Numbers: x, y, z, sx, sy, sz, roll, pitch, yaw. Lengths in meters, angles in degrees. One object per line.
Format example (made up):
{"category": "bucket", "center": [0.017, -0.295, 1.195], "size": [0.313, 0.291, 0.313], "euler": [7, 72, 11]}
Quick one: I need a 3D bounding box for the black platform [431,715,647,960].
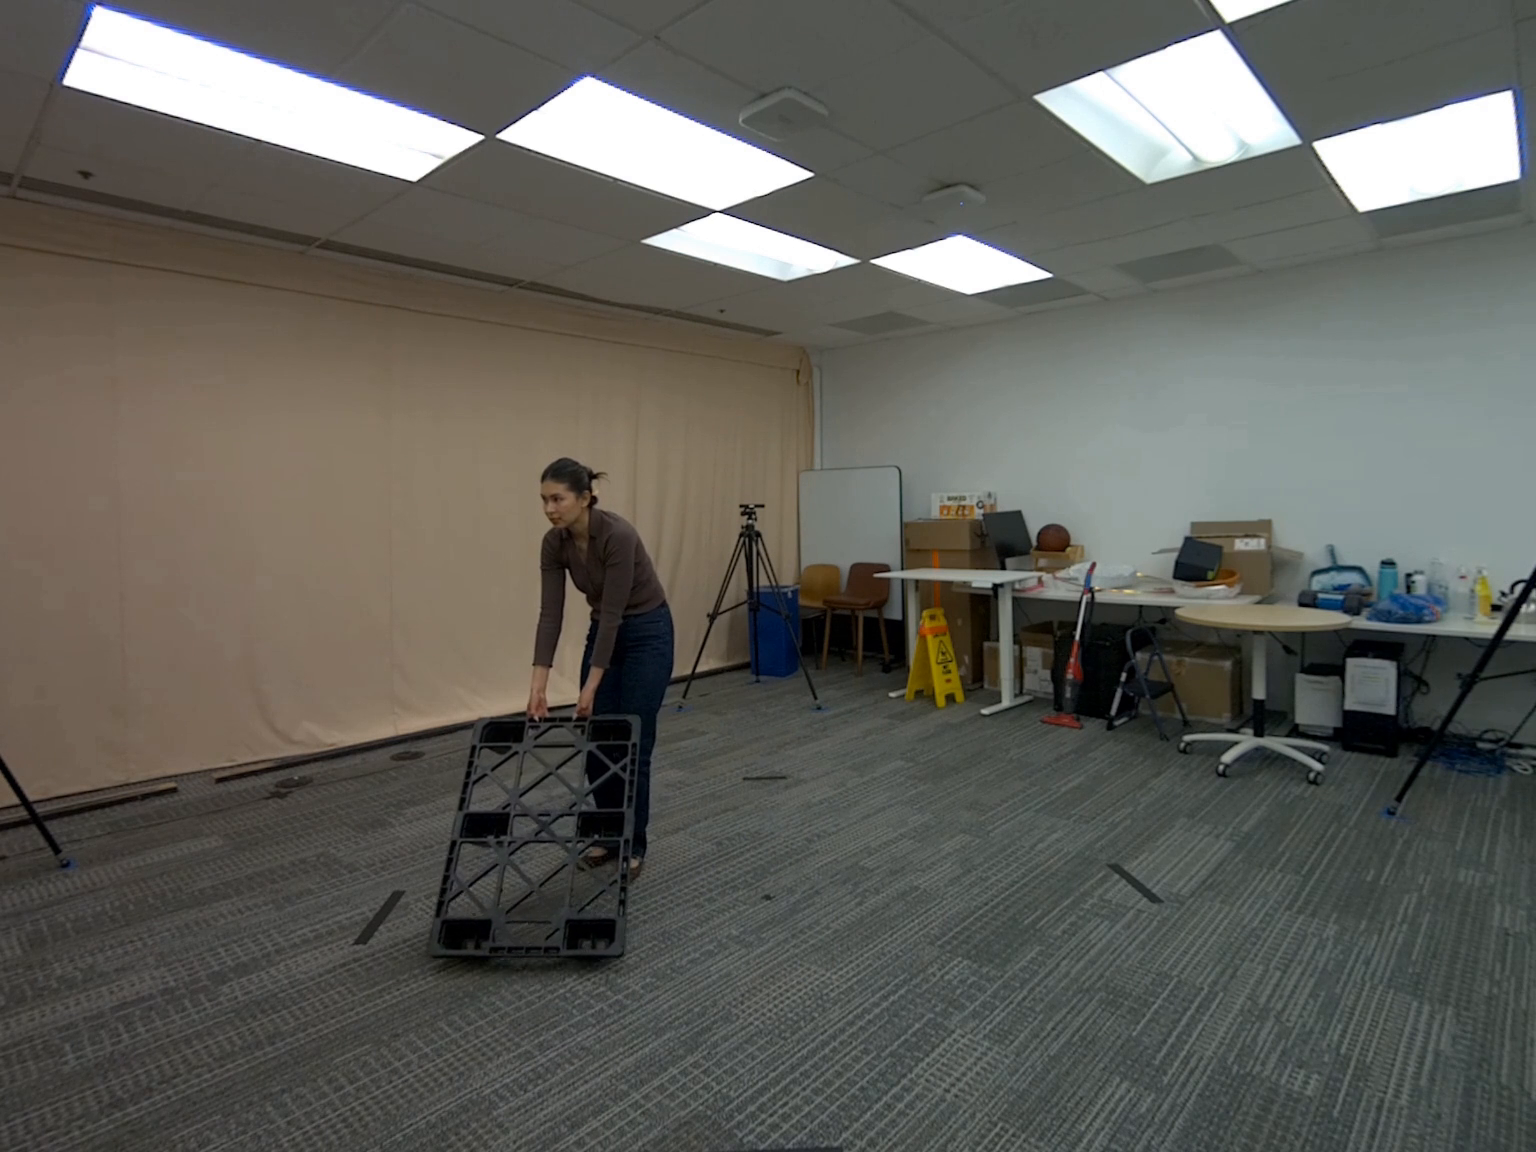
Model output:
{"category": "black platform", "center": [-0.744, 0.855, 2.818], "size": [0.606, 0.821, 0.140], "euler": [-2, -38, 0]}
